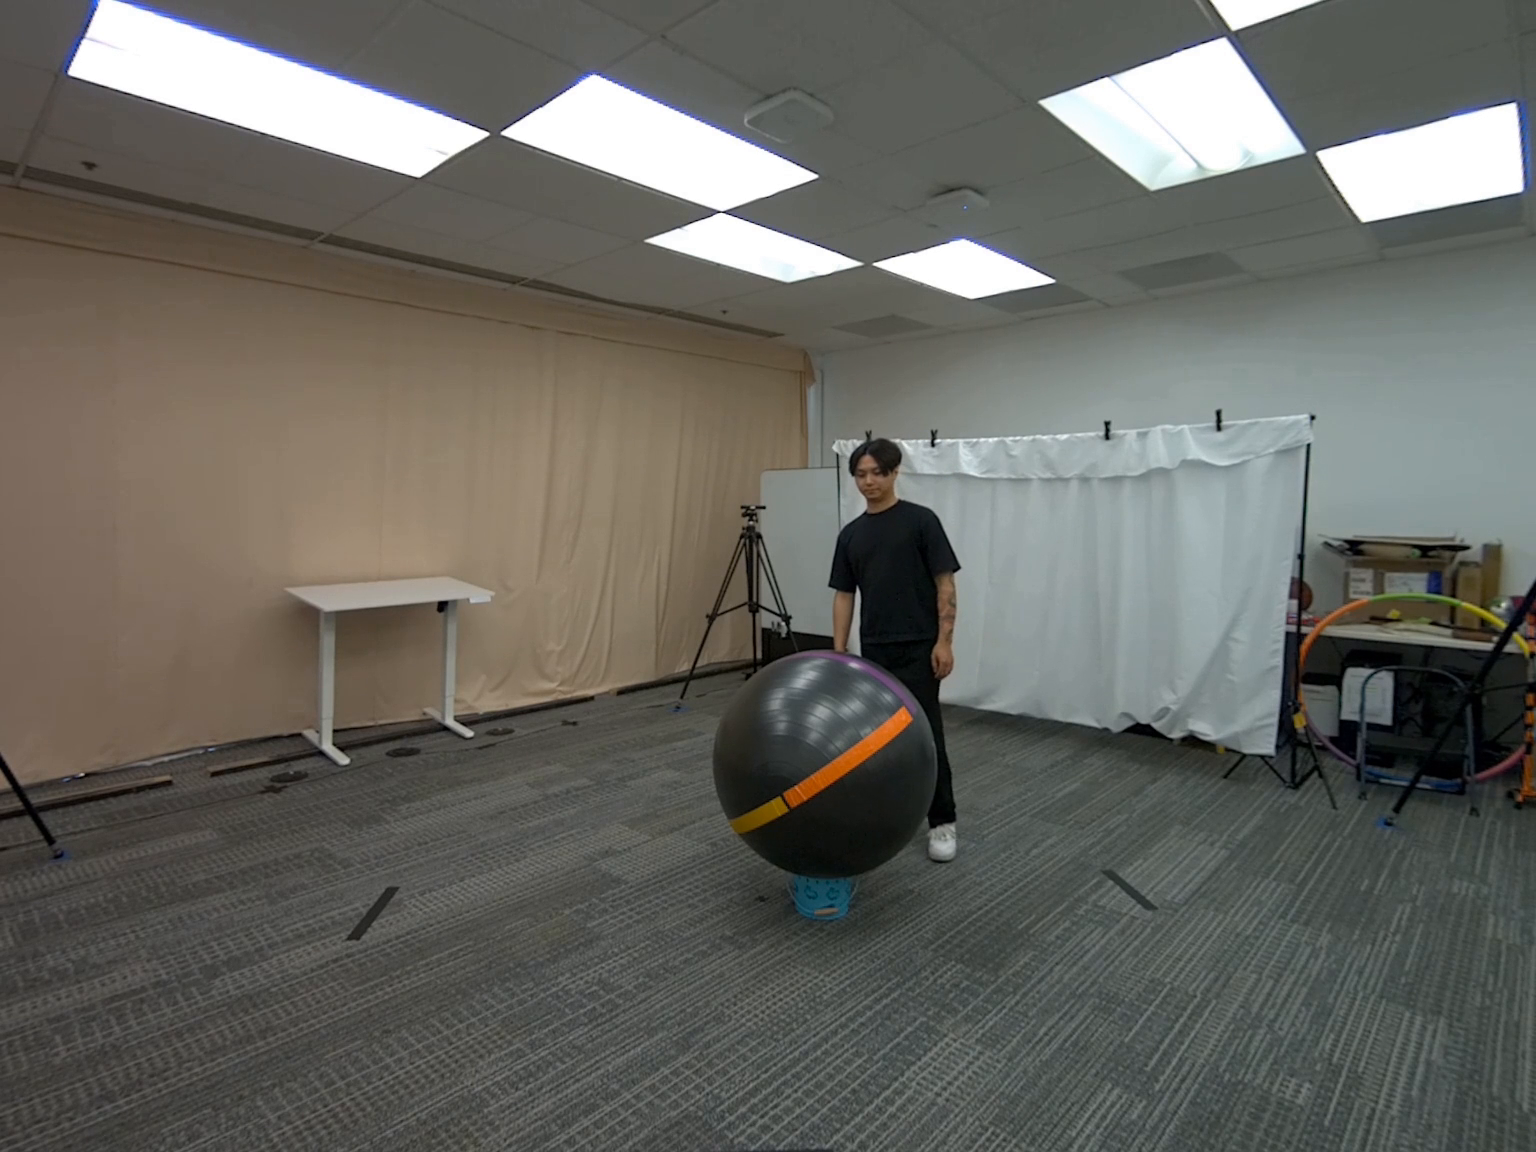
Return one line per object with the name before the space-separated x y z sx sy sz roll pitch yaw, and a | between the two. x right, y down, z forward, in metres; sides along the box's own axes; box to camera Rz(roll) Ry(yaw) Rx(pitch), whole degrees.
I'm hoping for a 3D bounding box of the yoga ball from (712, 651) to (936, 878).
yoga ball | 0.190 0.639 2.893 0.757 0.756 0.761 0 4 -2
